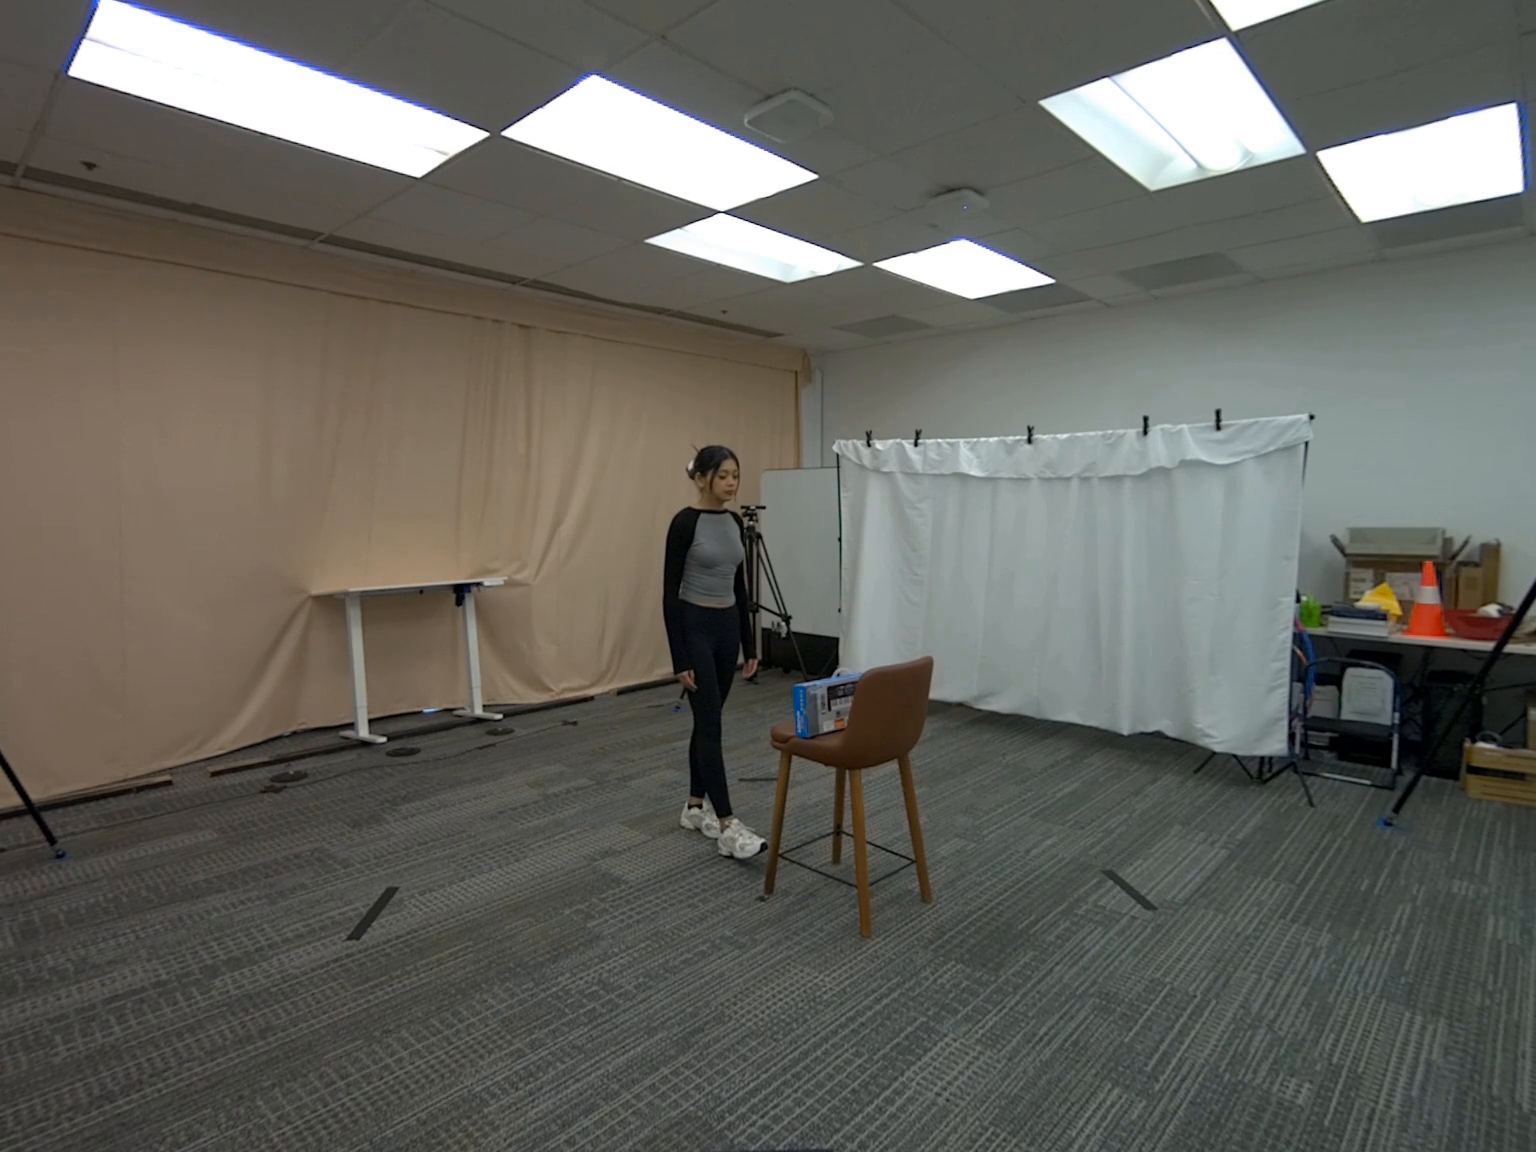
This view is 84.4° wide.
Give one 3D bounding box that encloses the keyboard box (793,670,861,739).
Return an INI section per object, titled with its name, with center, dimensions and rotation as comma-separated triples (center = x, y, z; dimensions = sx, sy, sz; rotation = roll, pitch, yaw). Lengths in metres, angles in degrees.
[keyboard box]
center = 0.274, 0.444, 2.964
dimensions = 0.423, 0.176, 0.061
rotation = -4, 0, -41
